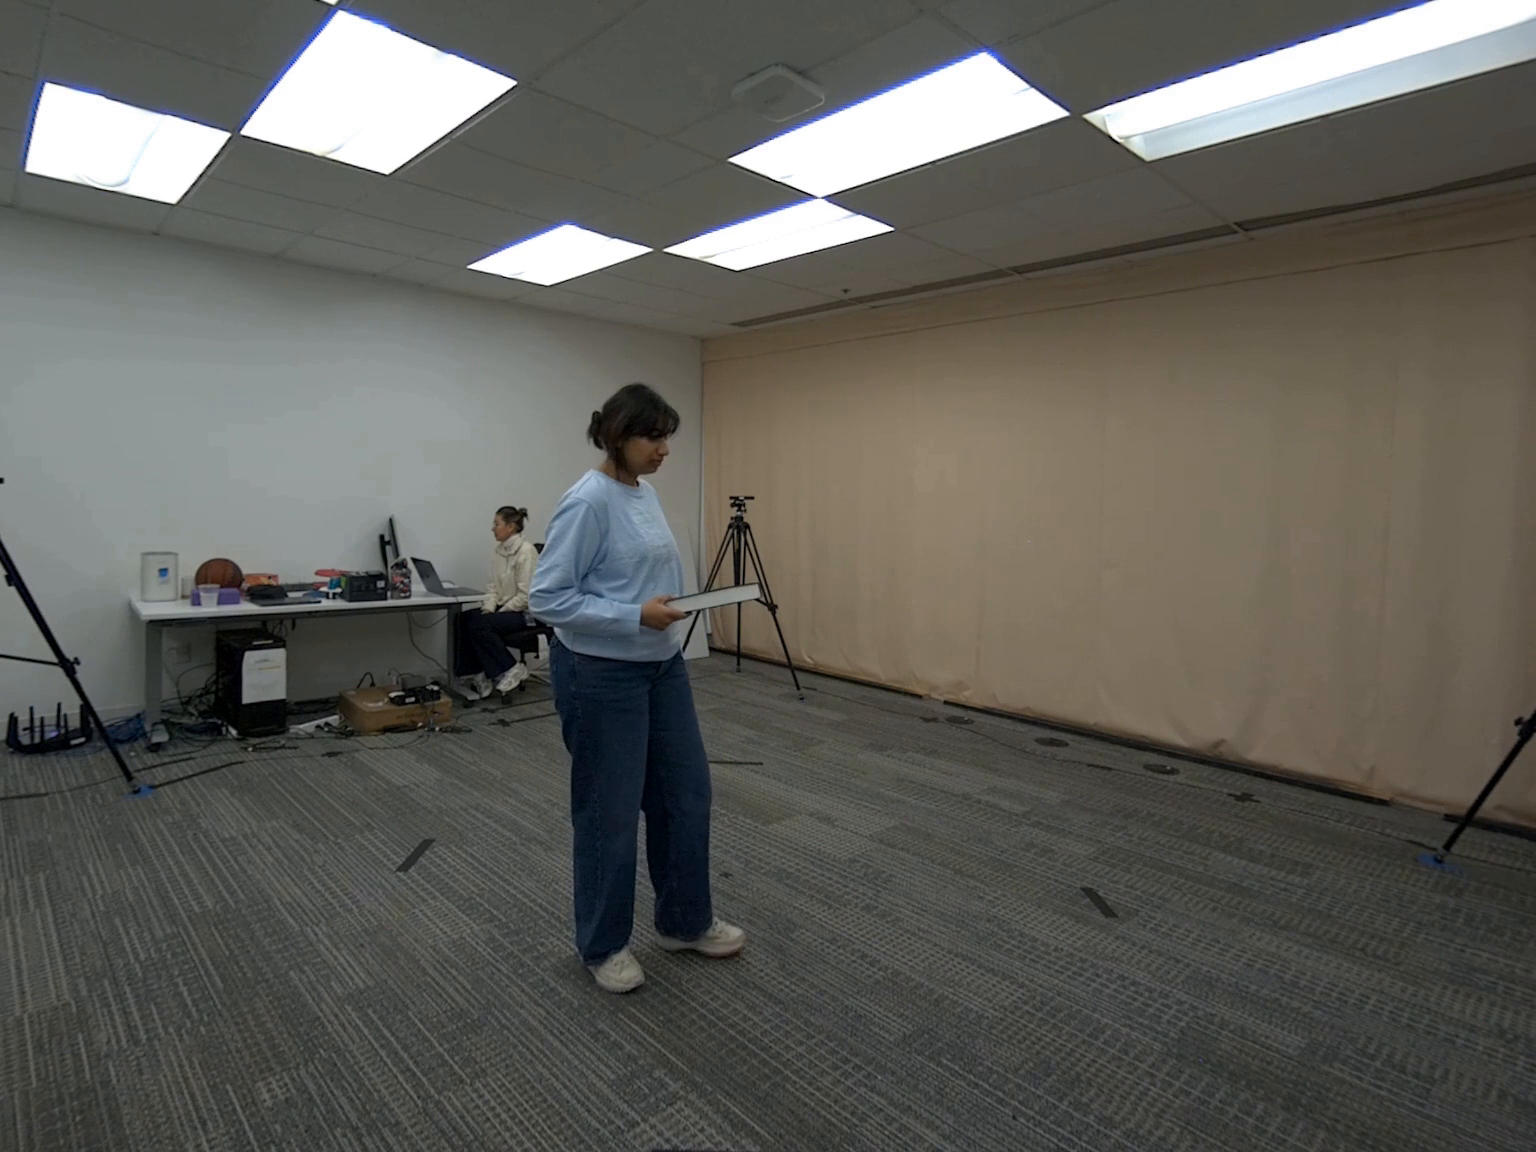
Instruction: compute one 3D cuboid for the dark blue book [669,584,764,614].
[{"bbox_3d":[-0.161,0.066,2.244,0.248,0.045,0.161,-11,-4,20],"label":"dark blue book"}]
